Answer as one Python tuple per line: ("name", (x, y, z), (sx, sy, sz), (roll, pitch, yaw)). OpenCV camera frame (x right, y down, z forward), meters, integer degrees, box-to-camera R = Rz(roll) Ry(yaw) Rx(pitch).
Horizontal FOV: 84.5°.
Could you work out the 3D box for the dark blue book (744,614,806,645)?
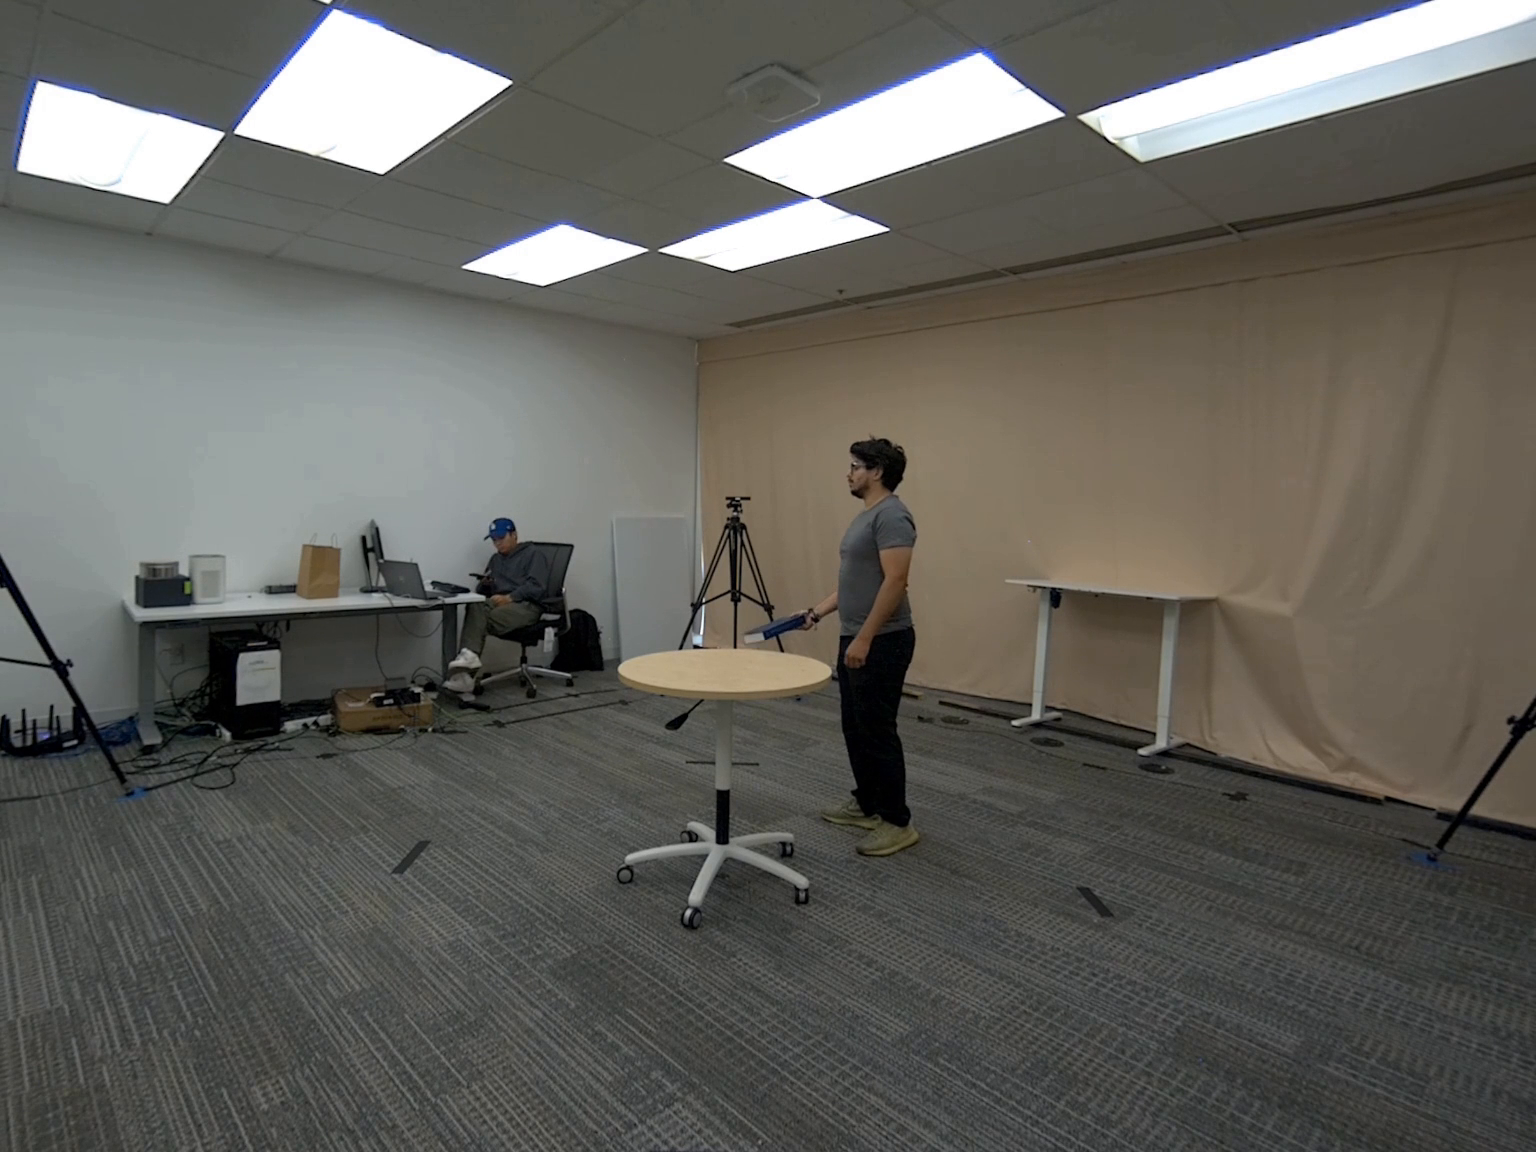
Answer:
("dark blue book", (0.015, 0.231, 3.701), (0.242, 0.045, 0.166), (-21, 5, -36))
